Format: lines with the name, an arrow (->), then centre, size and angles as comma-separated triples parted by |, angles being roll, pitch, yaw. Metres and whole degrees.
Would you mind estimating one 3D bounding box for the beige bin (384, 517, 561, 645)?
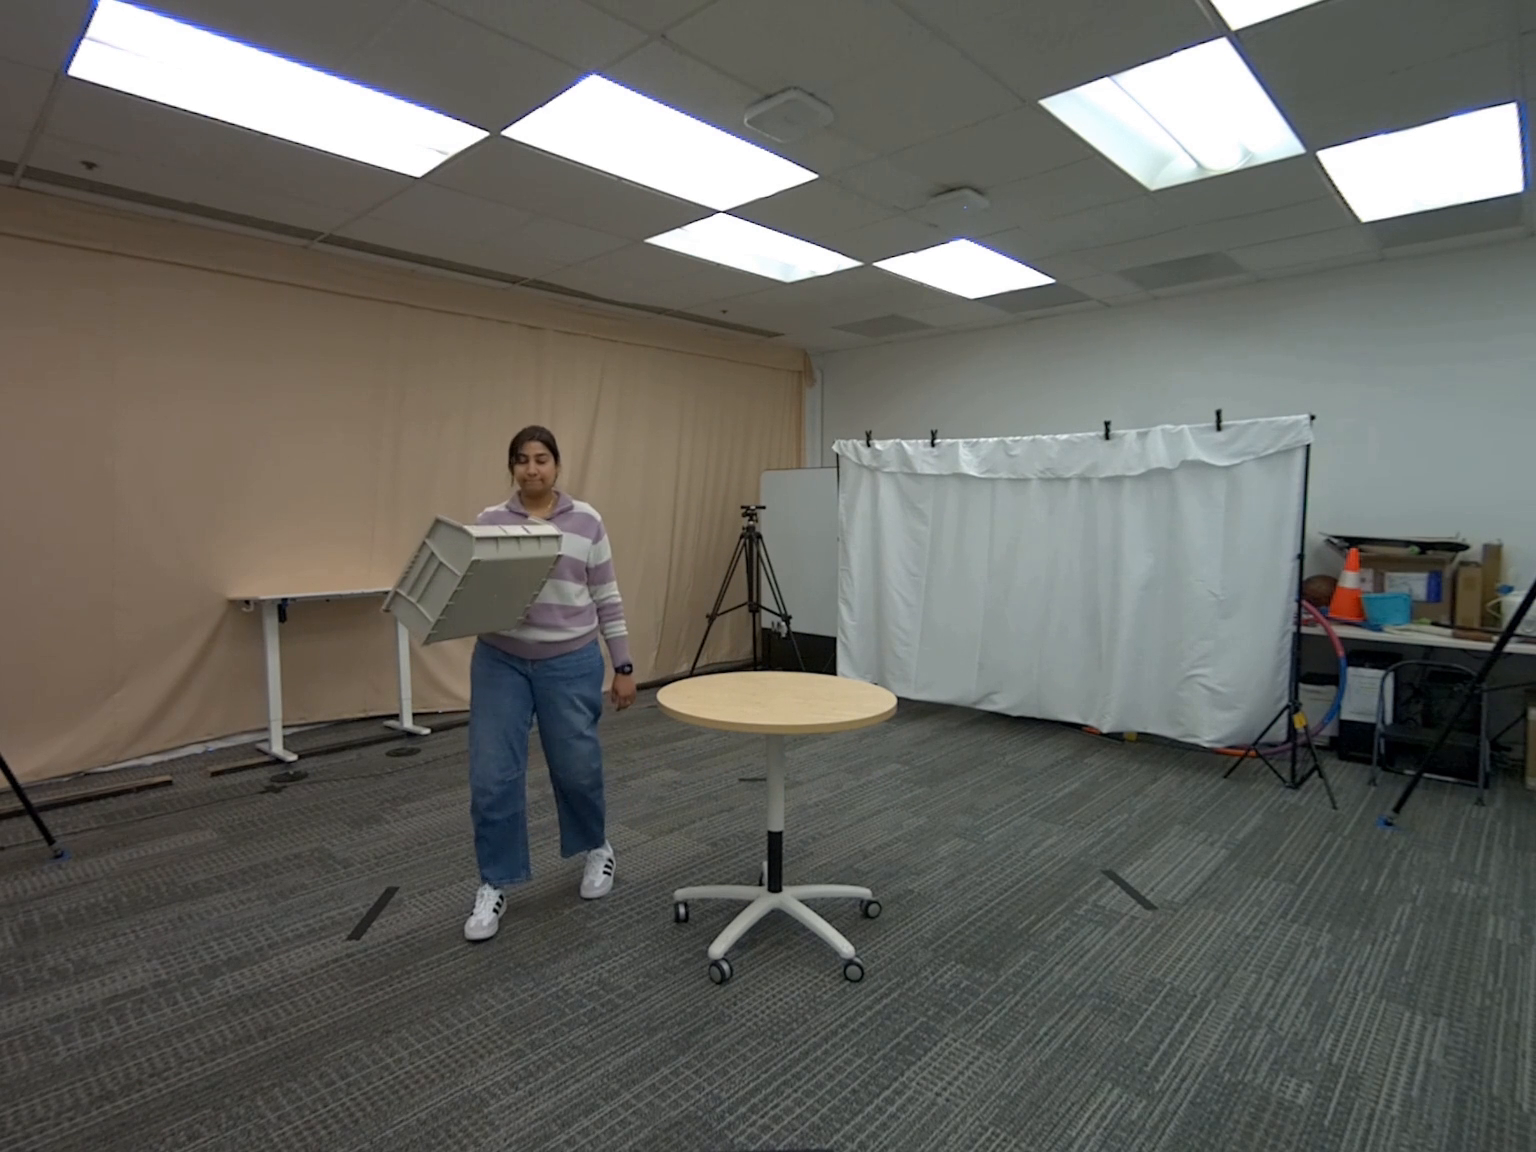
beige bin -> -0.847, -0.003, 2.503 | 0.193, 0.378, 0.413 | 39, 16, 16
